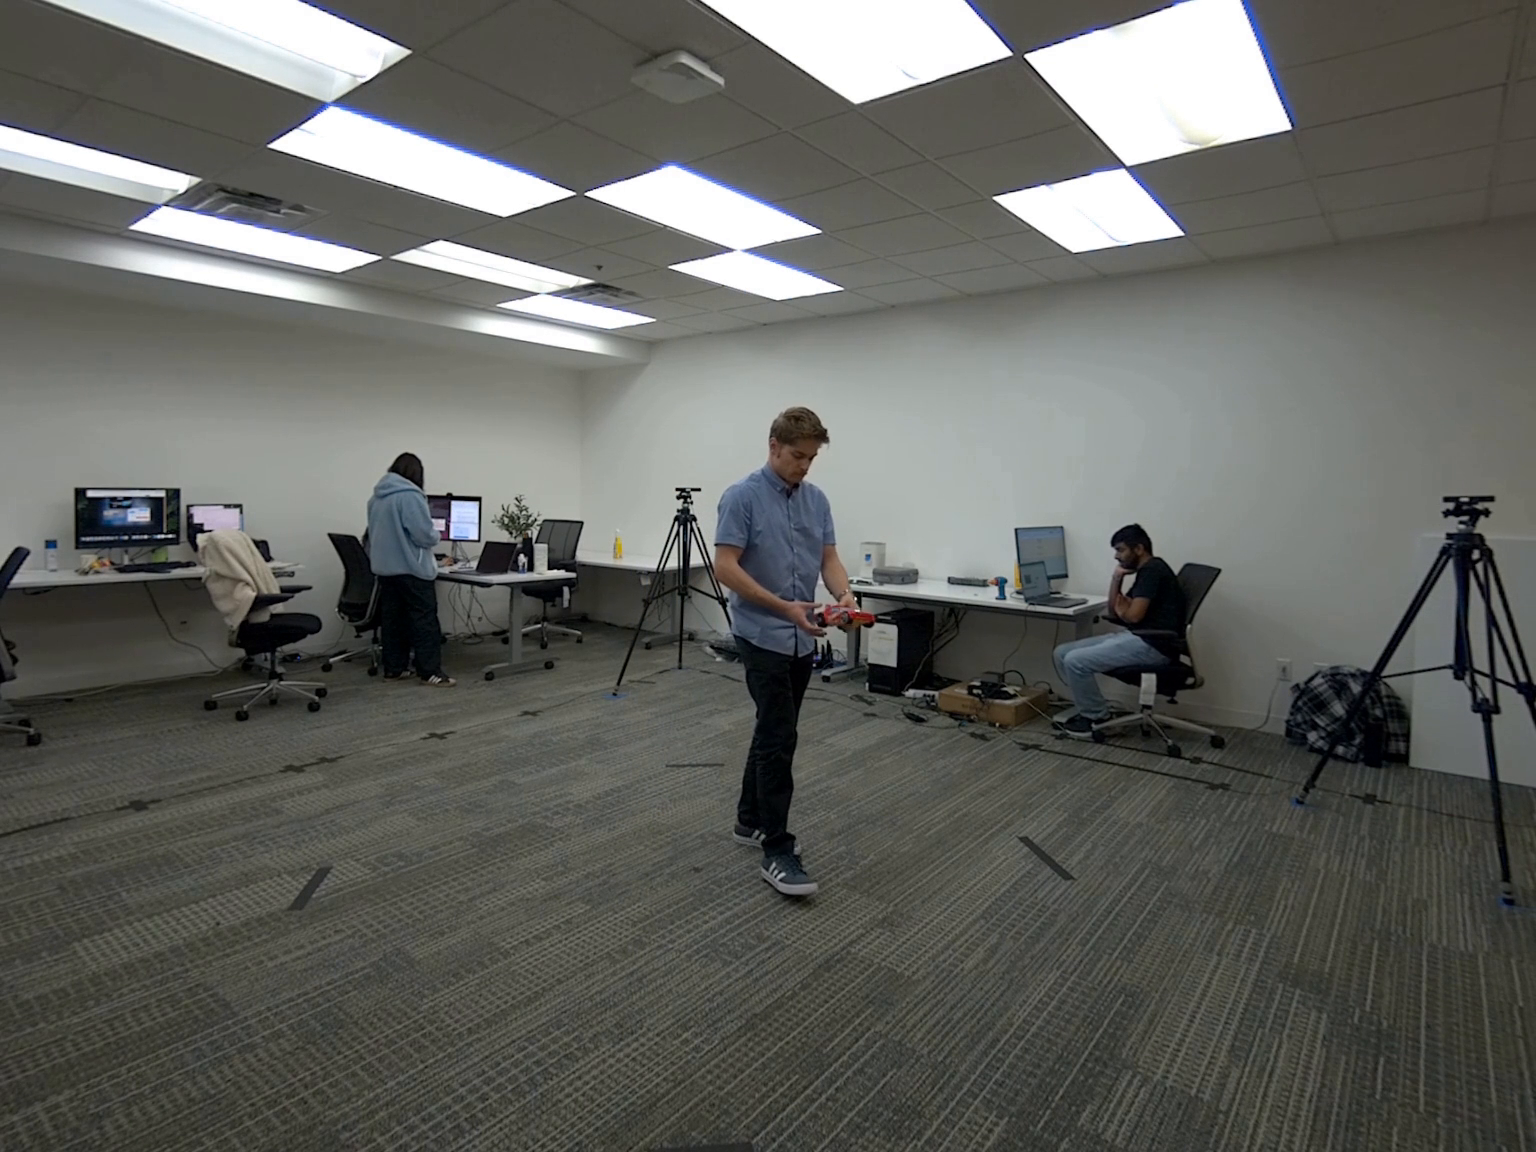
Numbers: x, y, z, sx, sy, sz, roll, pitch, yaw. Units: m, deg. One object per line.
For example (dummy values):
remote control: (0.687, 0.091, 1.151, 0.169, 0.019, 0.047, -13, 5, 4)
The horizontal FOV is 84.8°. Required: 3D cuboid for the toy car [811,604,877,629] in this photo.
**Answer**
toy car: (0.235, 0.145, 2.946, 0.126, 0.083, 0.262, 7, 1, -32)
